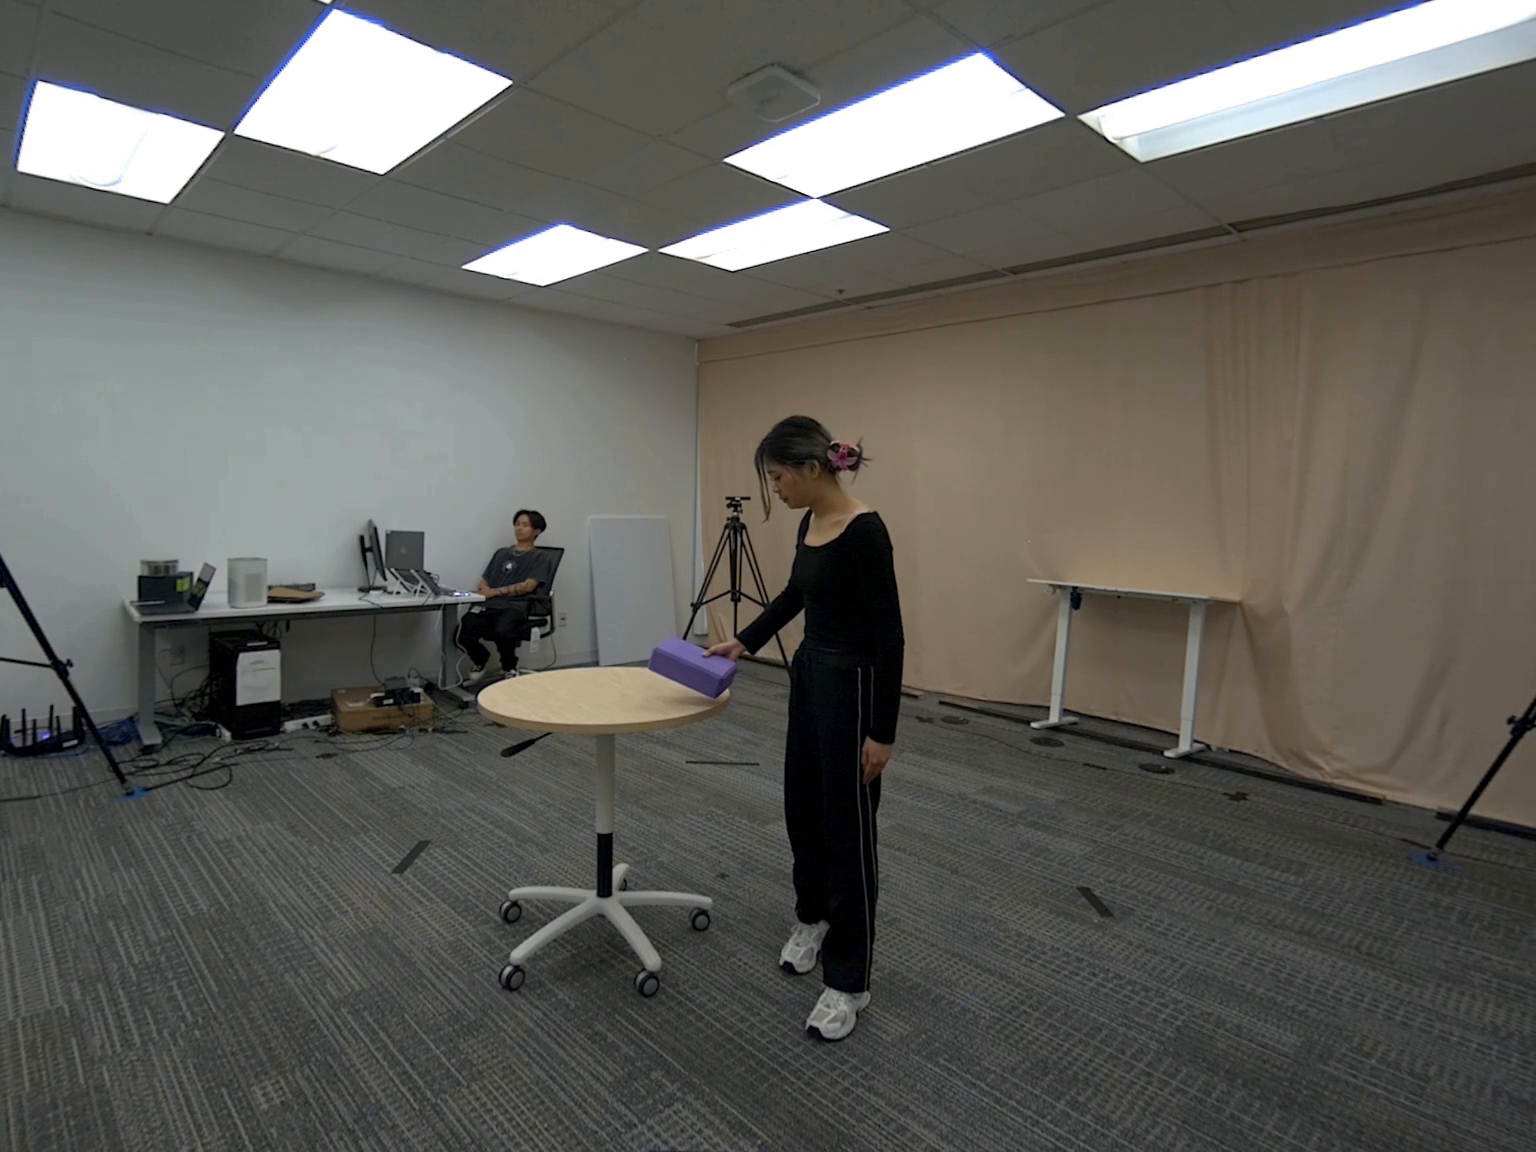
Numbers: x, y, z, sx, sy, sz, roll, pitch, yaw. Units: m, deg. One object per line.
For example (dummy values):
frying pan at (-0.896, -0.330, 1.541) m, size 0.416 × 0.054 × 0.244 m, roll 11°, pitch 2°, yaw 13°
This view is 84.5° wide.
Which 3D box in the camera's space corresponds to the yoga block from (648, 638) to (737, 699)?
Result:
yoga block at (-0.210, 0.263, 2.489) m, size 0.232 × 0.076 × 0.148 m, roll 15°, pitch 13°, yaw 10°
